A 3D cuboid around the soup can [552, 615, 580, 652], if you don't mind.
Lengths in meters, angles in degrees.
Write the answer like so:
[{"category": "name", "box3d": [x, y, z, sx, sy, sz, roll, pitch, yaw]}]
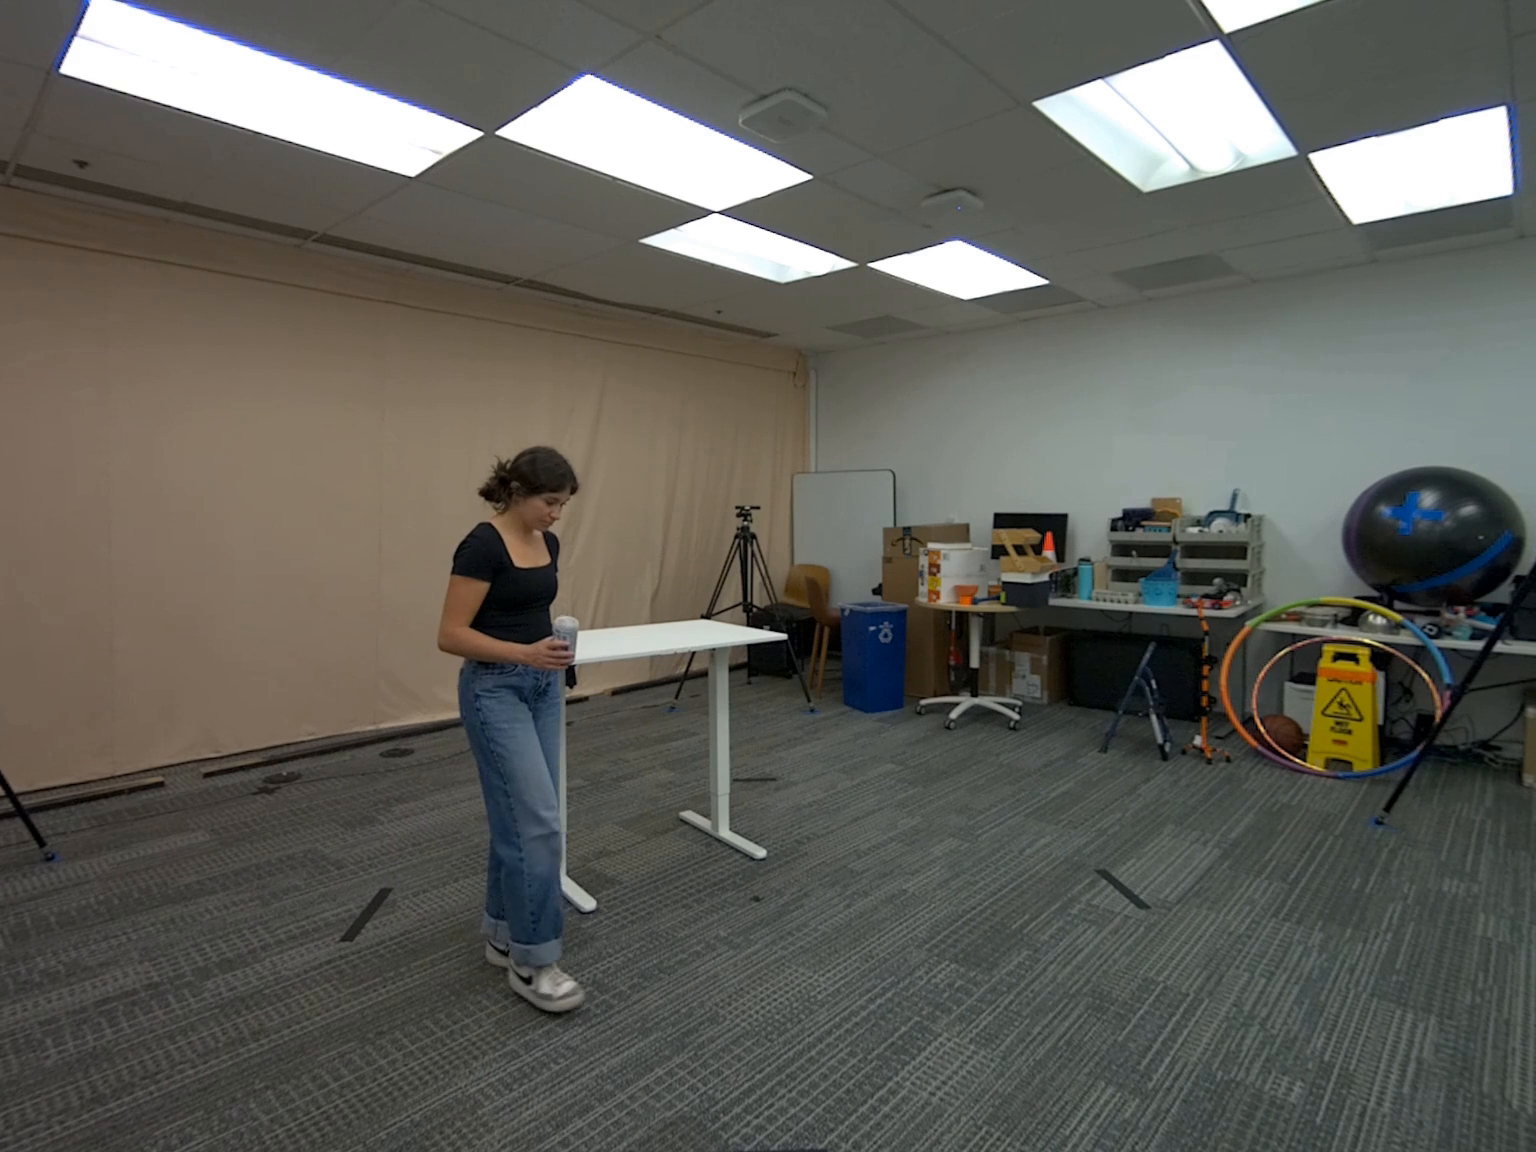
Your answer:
[{"category": "soup can", "box3d": [-0.571, 0.181, 2.283, 0.067, 0.120, 0.068, 9, 18, -5]}]
